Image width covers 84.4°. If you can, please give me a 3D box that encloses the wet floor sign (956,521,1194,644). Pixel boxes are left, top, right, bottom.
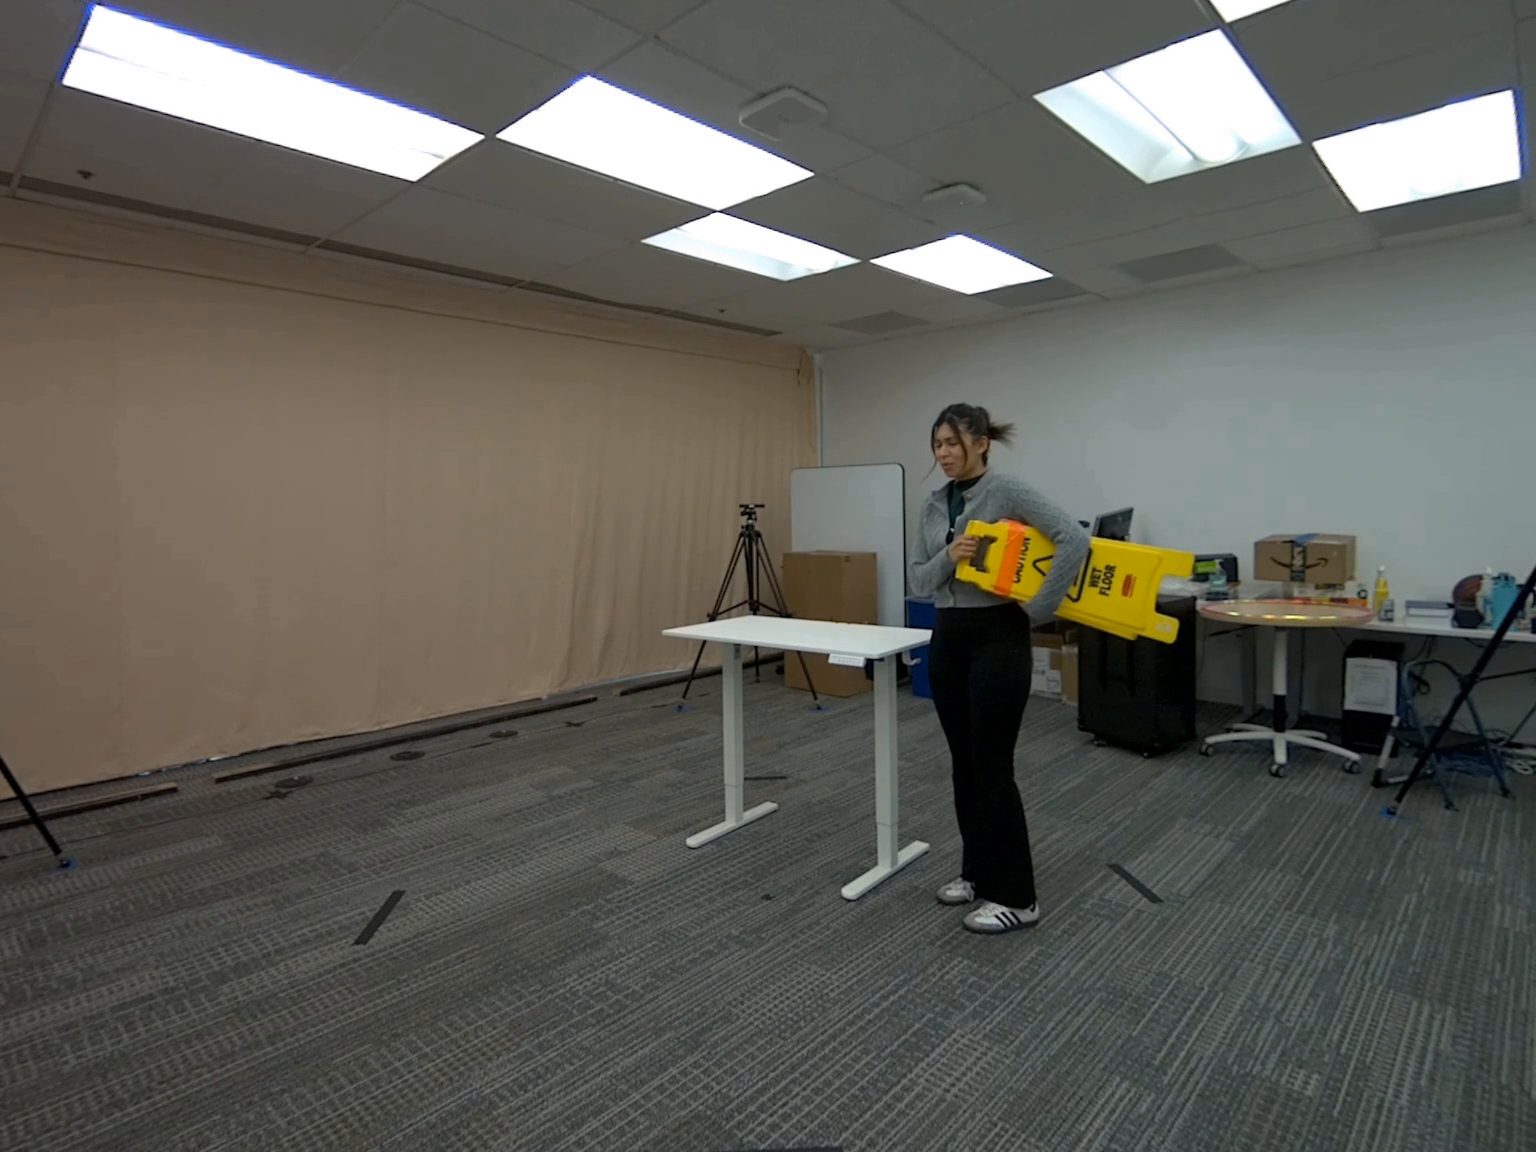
[{"bbox_3d":[0.953,-0.001,2.682,0.650,0.282,0.288,14,-1,4],"label":"wet floor sign"}]
